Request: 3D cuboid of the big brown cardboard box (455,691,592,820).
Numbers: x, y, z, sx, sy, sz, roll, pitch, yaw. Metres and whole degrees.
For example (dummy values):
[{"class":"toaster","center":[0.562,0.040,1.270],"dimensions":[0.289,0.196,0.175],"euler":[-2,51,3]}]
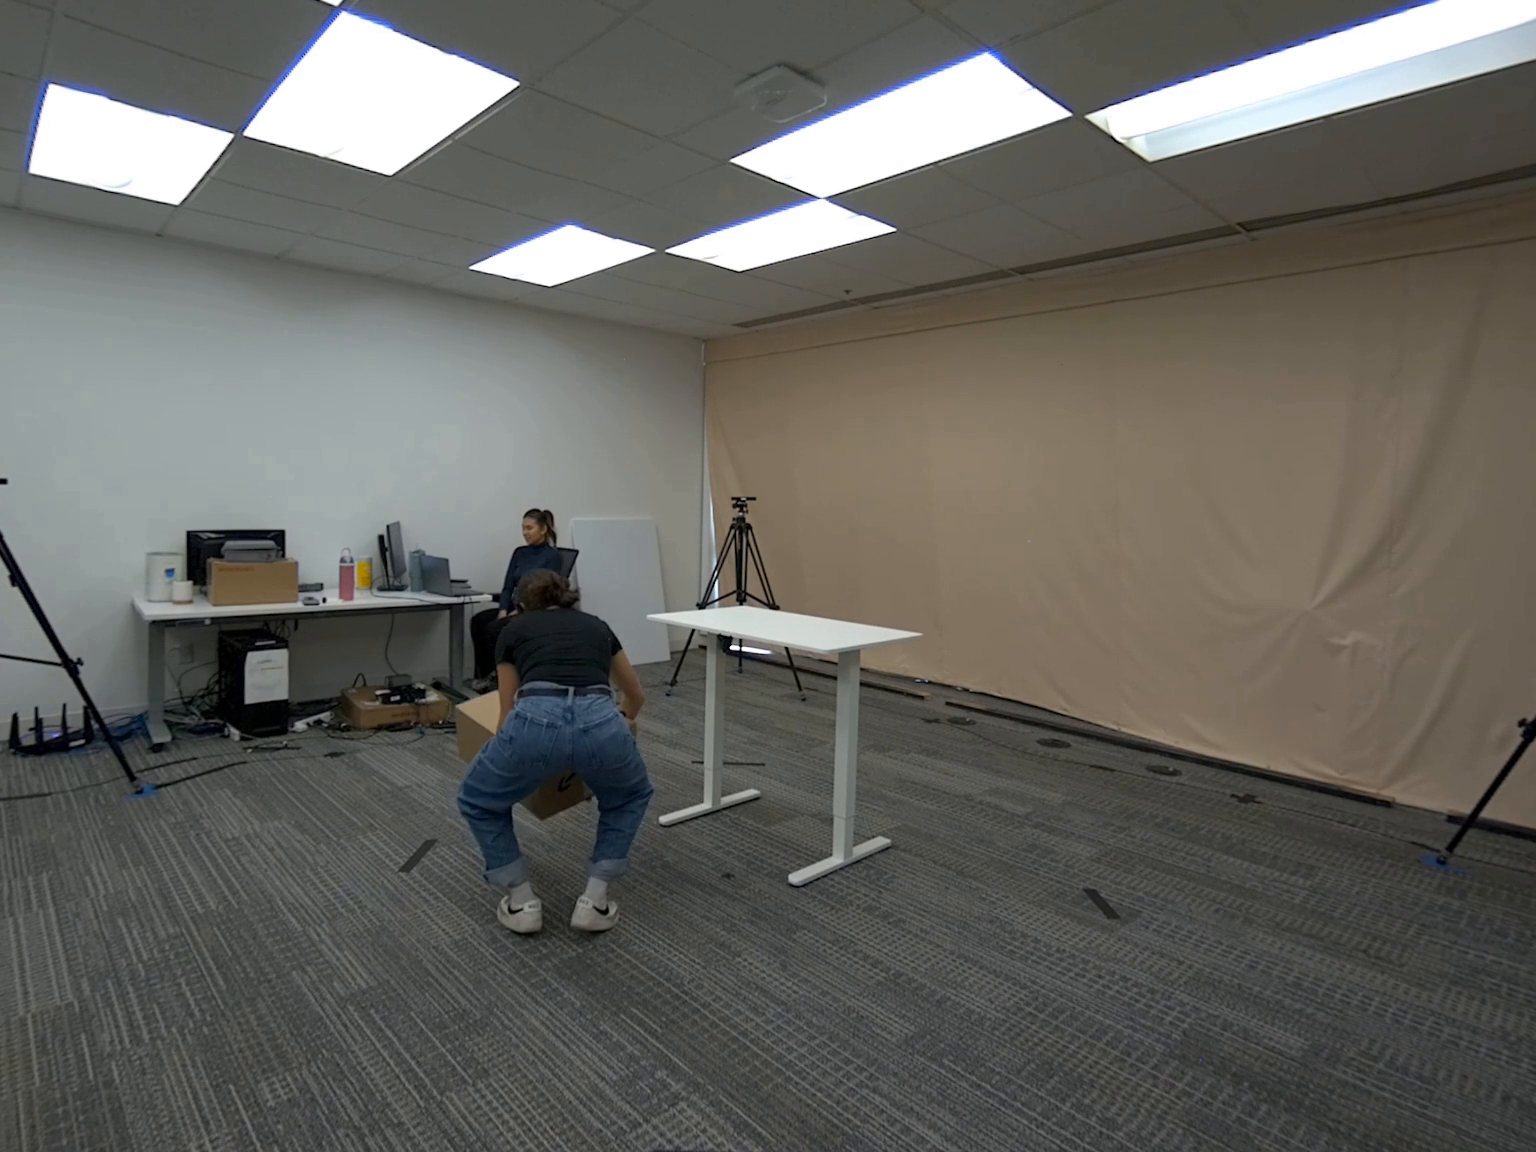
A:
[{"class":"big brown cardboard box","center":[-0.823,0.605,3.096],"dimensions":[0.606,0.230,0.410],"euler":[17,24,41]}]
